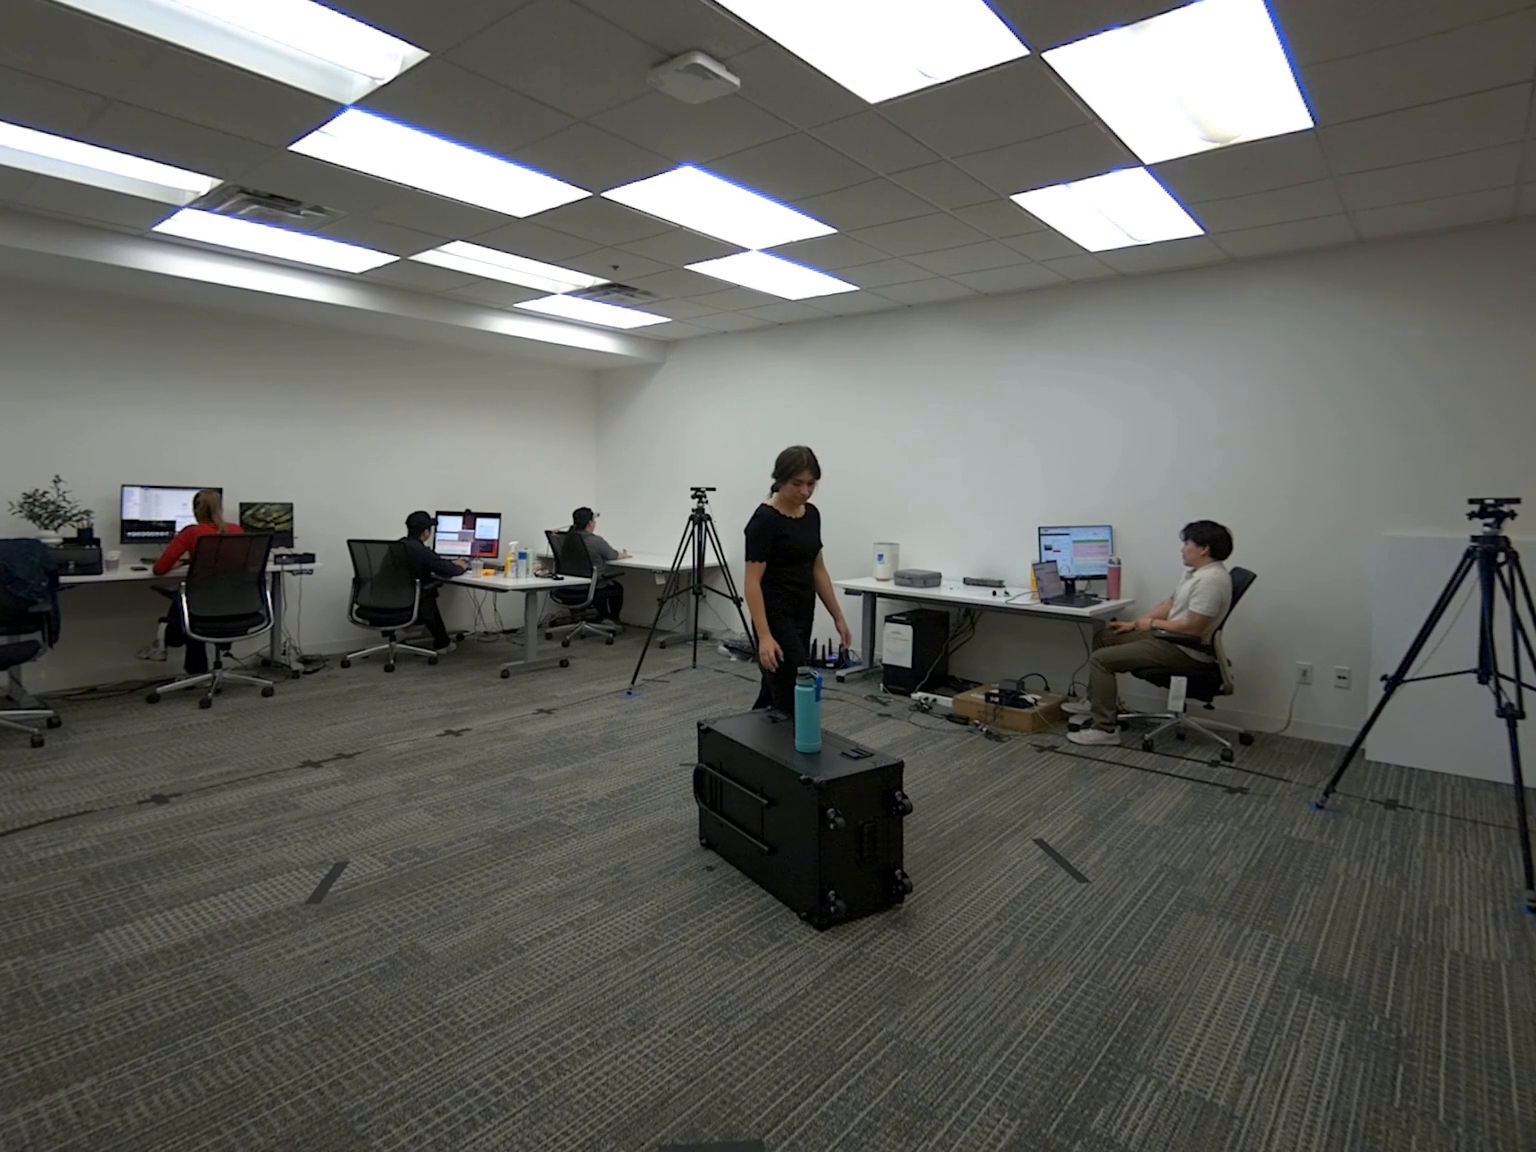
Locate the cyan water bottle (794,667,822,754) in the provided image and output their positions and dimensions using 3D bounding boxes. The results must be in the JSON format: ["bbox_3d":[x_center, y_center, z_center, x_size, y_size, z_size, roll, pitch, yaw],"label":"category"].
[{"bbox_3d":[0.131,0.458,2.962,0.092,0.282,0.093,-1,3,-2],"label":"cyan water bottle"}]
